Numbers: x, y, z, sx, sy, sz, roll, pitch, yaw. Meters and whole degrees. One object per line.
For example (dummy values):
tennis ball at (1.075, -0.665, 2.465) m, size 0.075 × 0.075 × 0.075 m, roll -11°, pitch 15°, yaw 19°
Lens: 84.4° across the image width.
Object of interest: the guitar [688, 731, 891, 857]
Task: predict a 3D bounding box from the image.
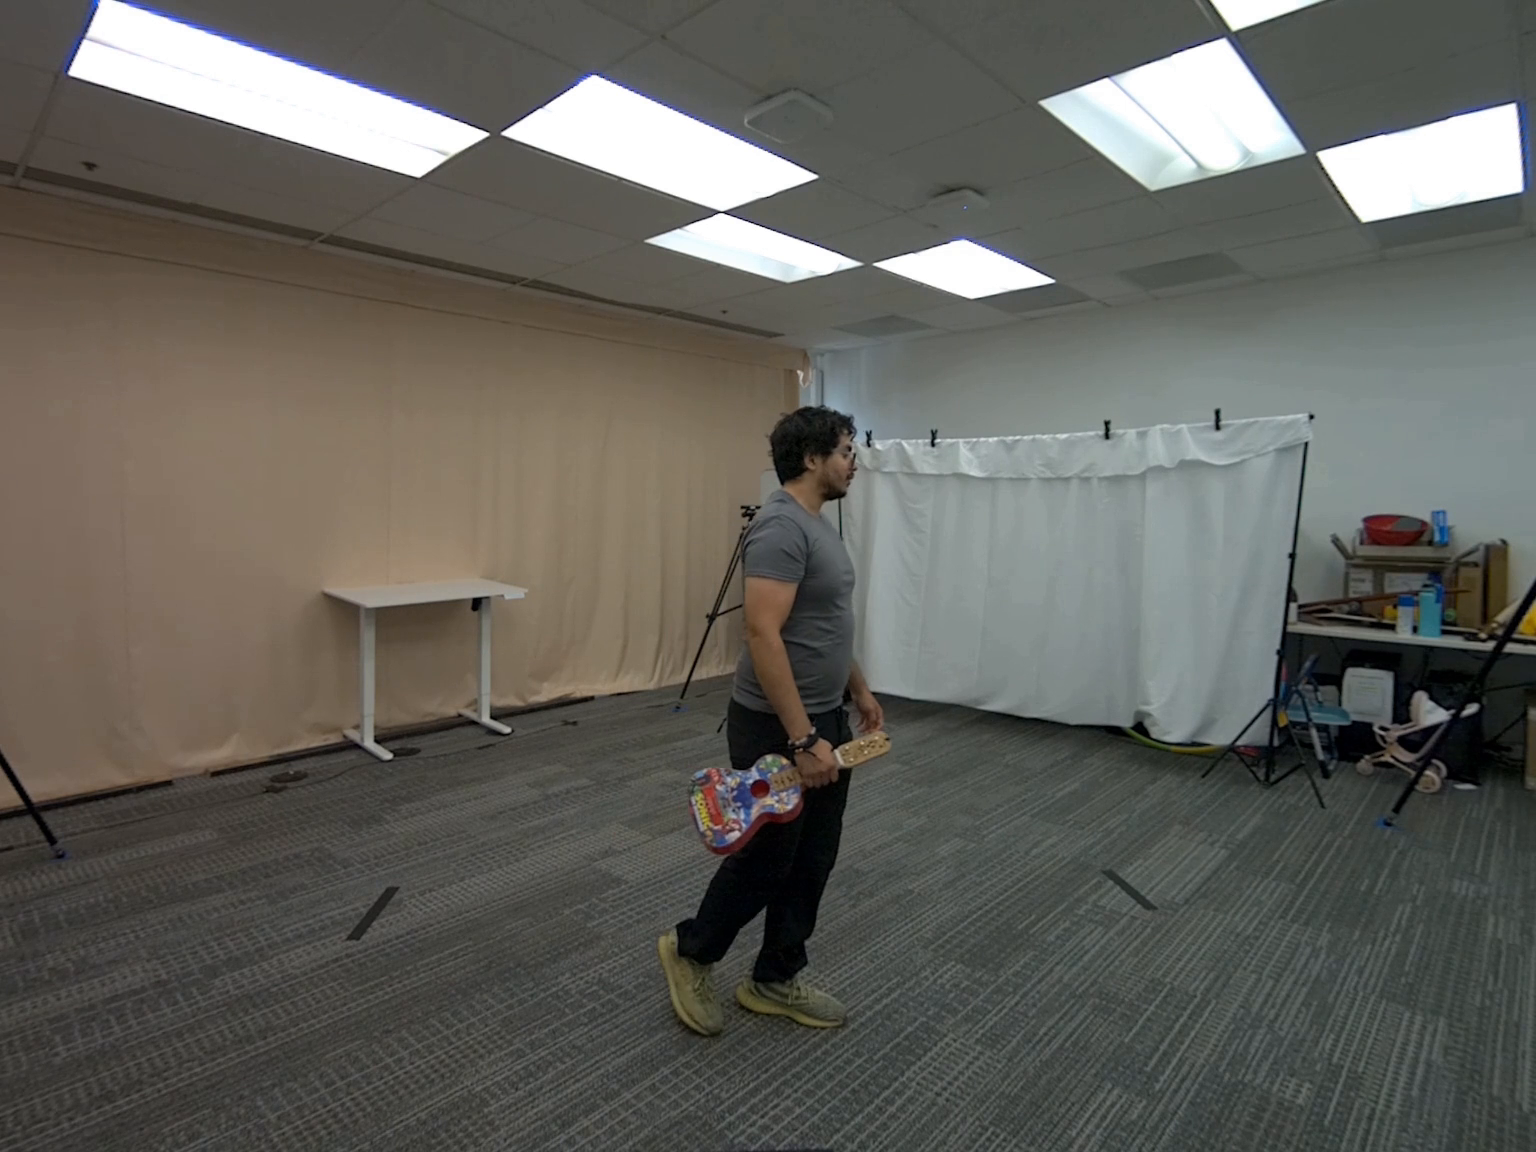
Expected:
guitar at (0.058, 0.511, 1.975) m, size 0.499 × 0.197 × 0.069 m, roll -13°, pitch -36°, yaw 3°
